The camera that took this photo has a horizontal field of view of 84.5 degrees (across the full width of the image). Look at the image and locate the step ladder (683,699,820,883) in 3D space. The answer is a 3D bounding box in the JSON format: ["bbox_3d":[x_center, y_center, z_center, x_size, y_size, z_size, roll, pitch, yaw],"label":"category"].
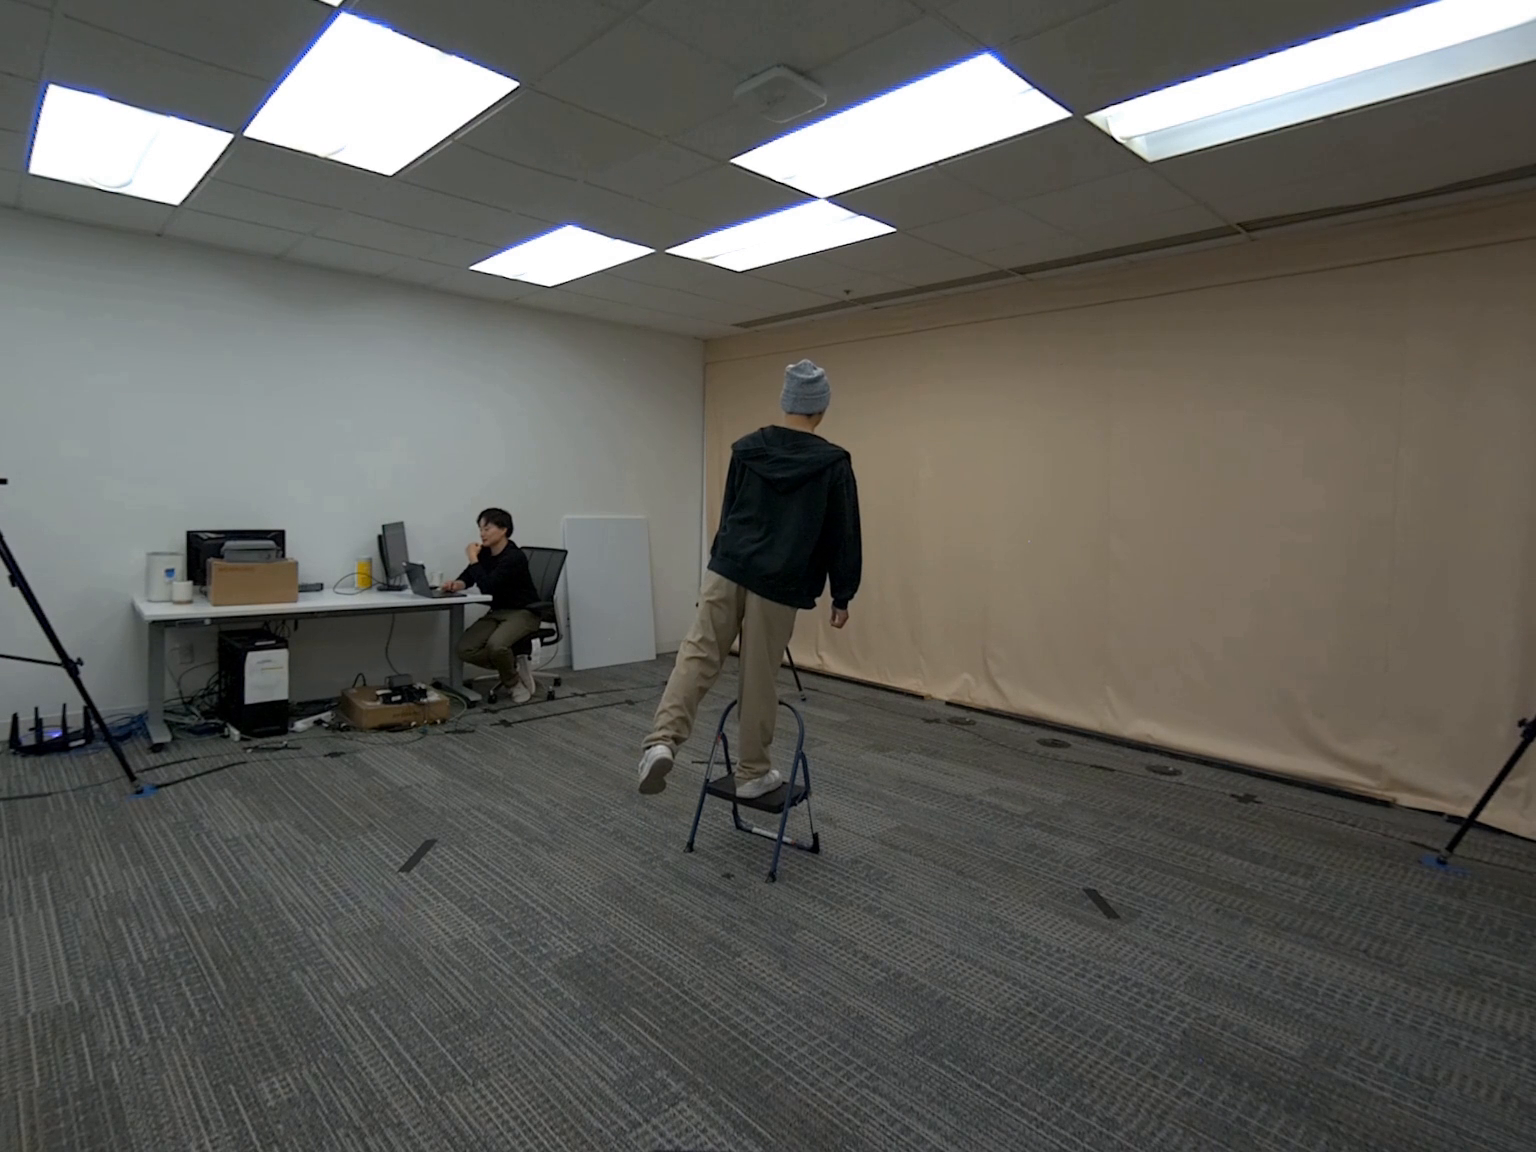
[{"bbox_3d":[-0.056,0.789,3.308,0.441,0.605,0.341,4,4,36],"label":"step ladder"}]
